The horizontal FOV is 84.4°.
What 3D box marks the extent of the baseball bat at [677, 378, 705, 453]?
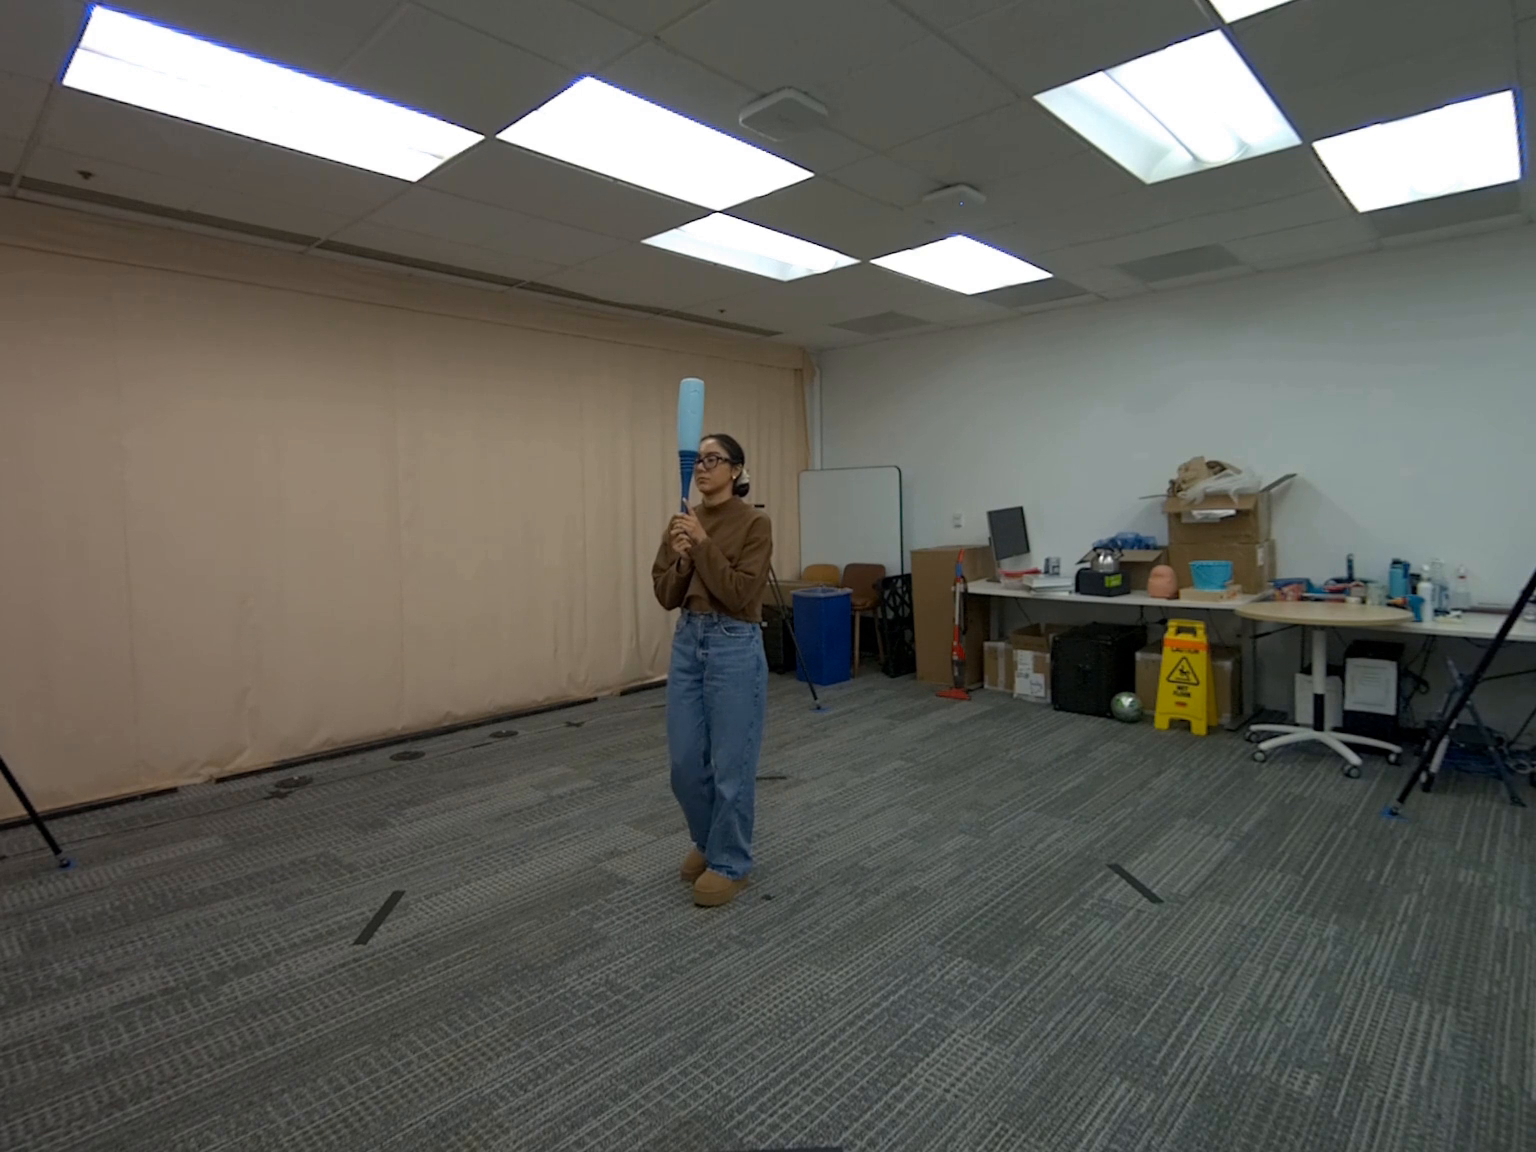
[{"bbox_3d":[-0.273,-0.407,2.889,0.089,0.544,0.089,3,-2,-2],"label":"baseball bat"}]
